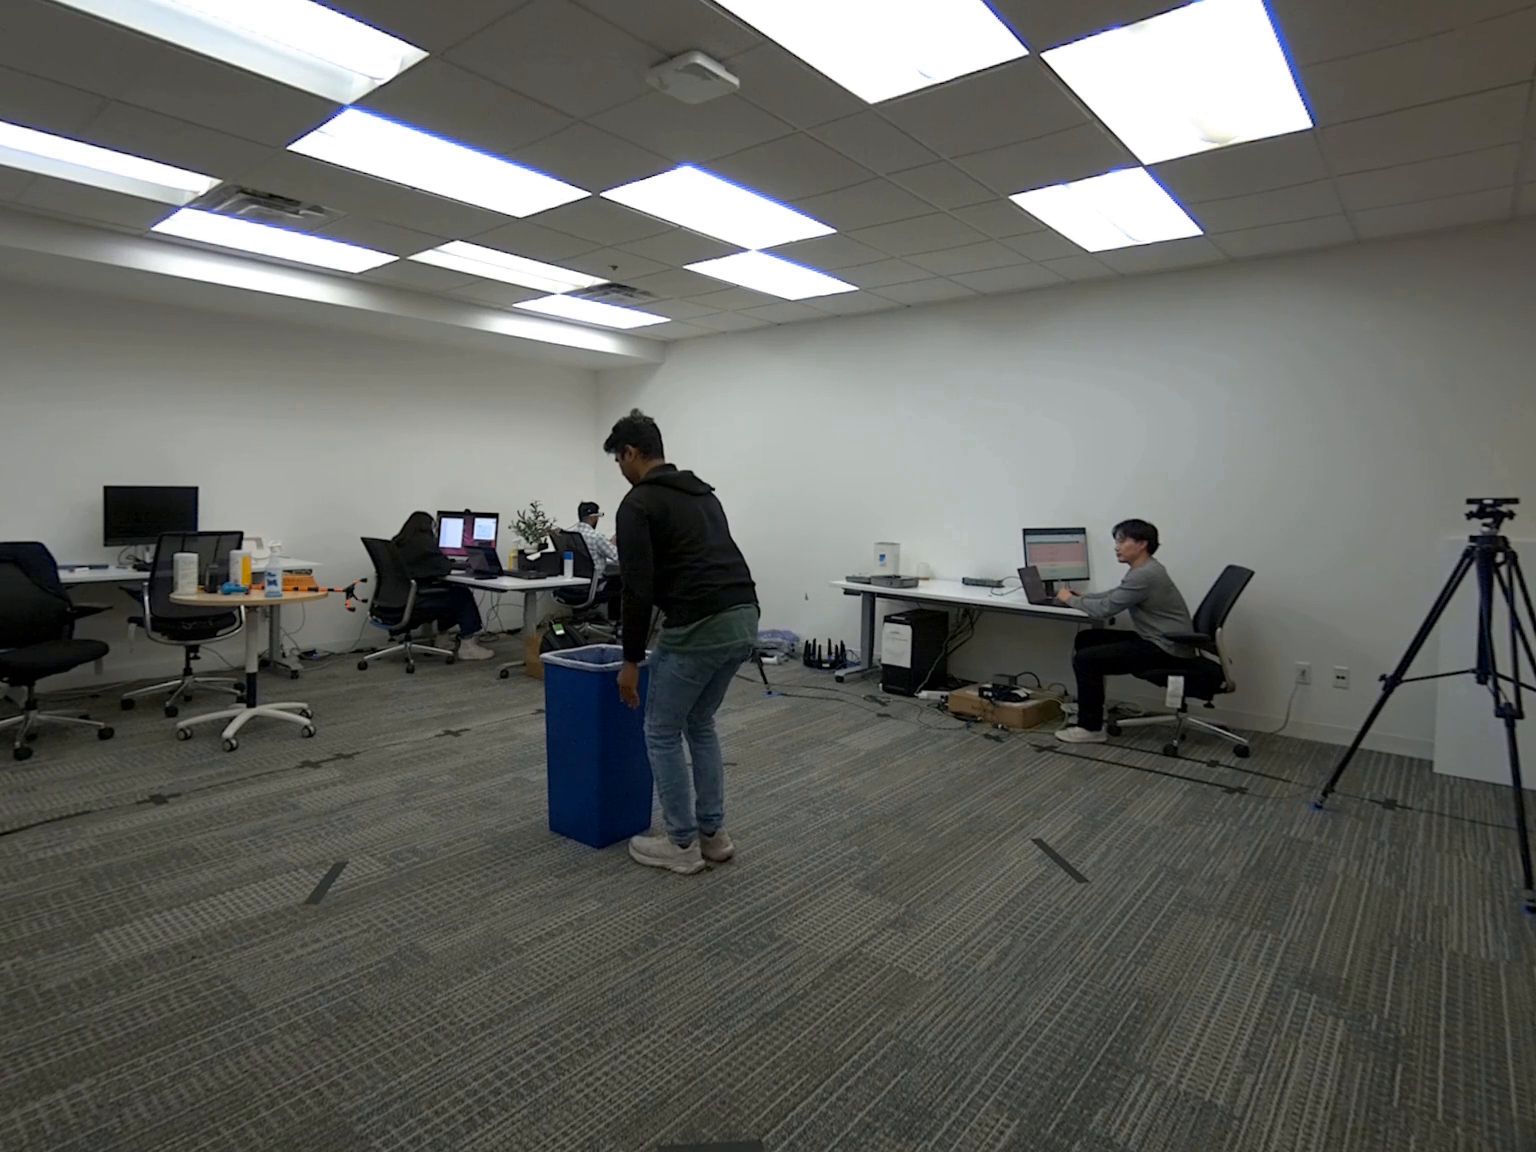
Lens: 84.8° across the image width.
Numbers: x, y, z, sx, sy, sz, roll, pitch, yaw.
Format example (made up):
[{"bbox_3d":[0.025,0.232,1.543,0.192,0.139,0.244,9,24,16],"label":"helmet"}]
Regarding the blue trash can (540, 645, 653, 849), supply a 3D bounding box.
[{"bbox_3d":[-0.697,0.668,3.449,0.386,0.712,0.367,4,4,36],"label":"blue trash can"}]
